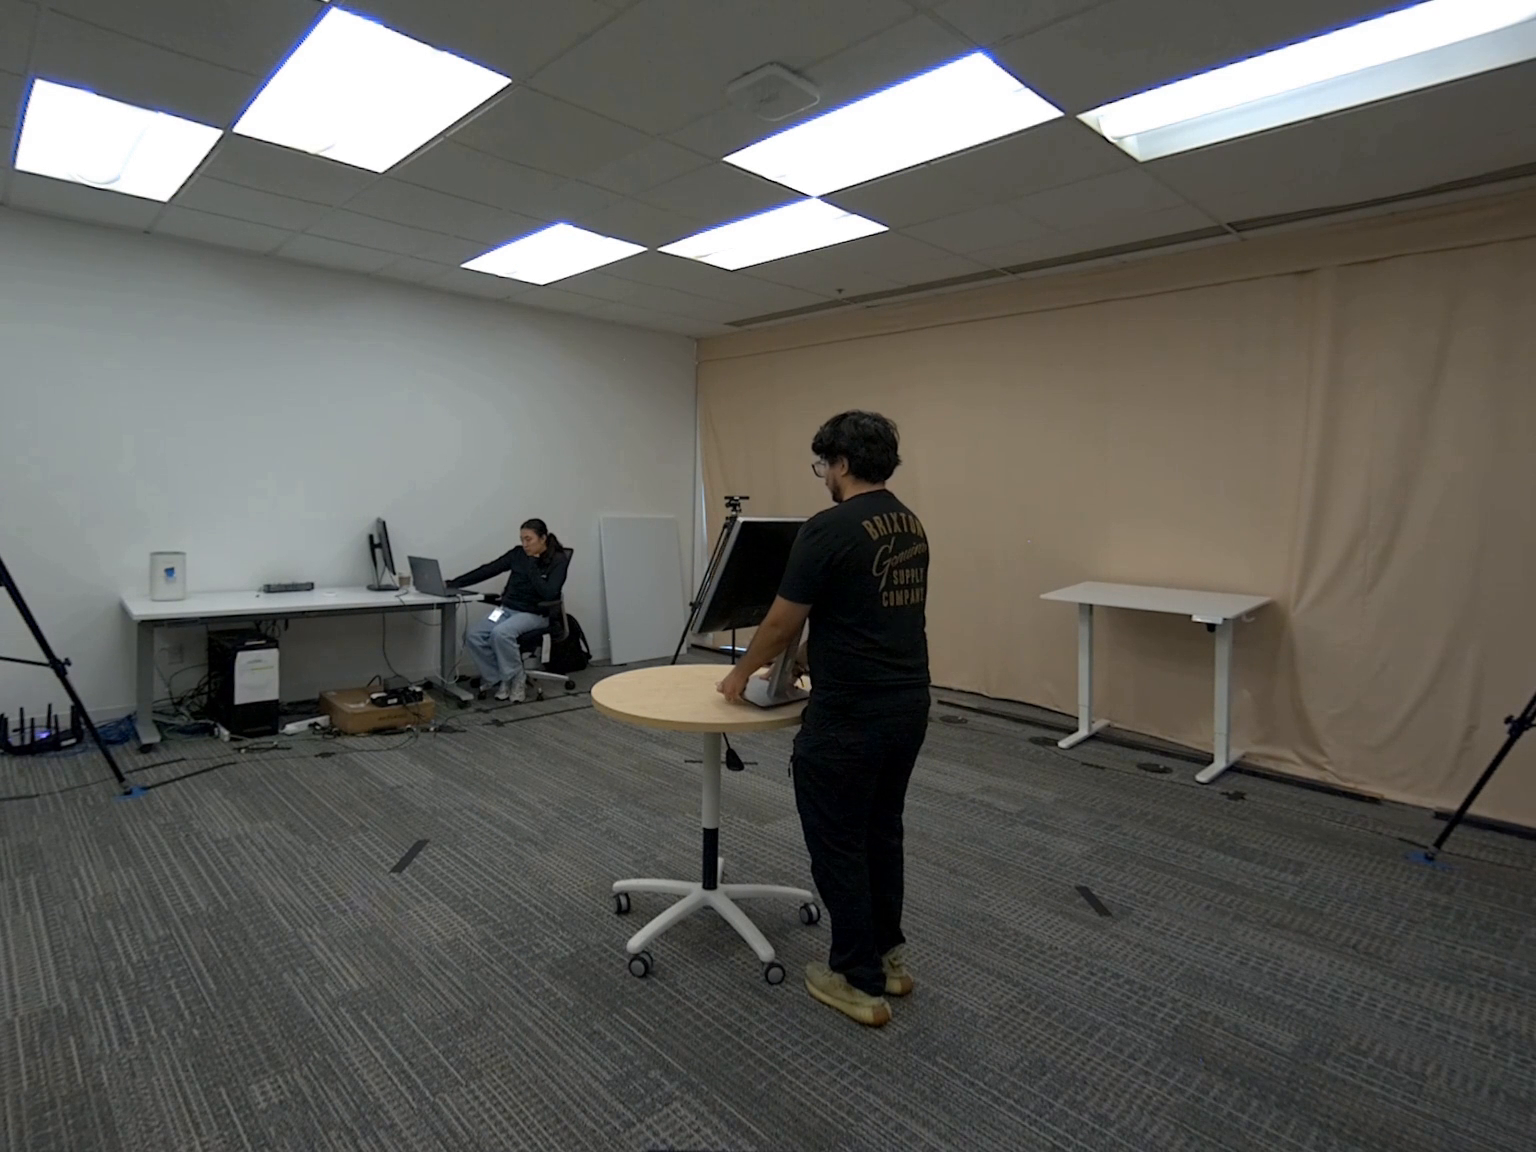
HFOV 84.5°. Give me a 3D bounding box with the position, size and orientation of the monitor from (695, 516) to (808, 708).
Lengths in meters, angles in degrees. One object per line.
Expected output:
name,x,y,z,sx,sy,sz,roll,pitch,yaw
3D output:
monitor,0.055,0.104,2.483,0.216,0.550,0.552,28,19,37
